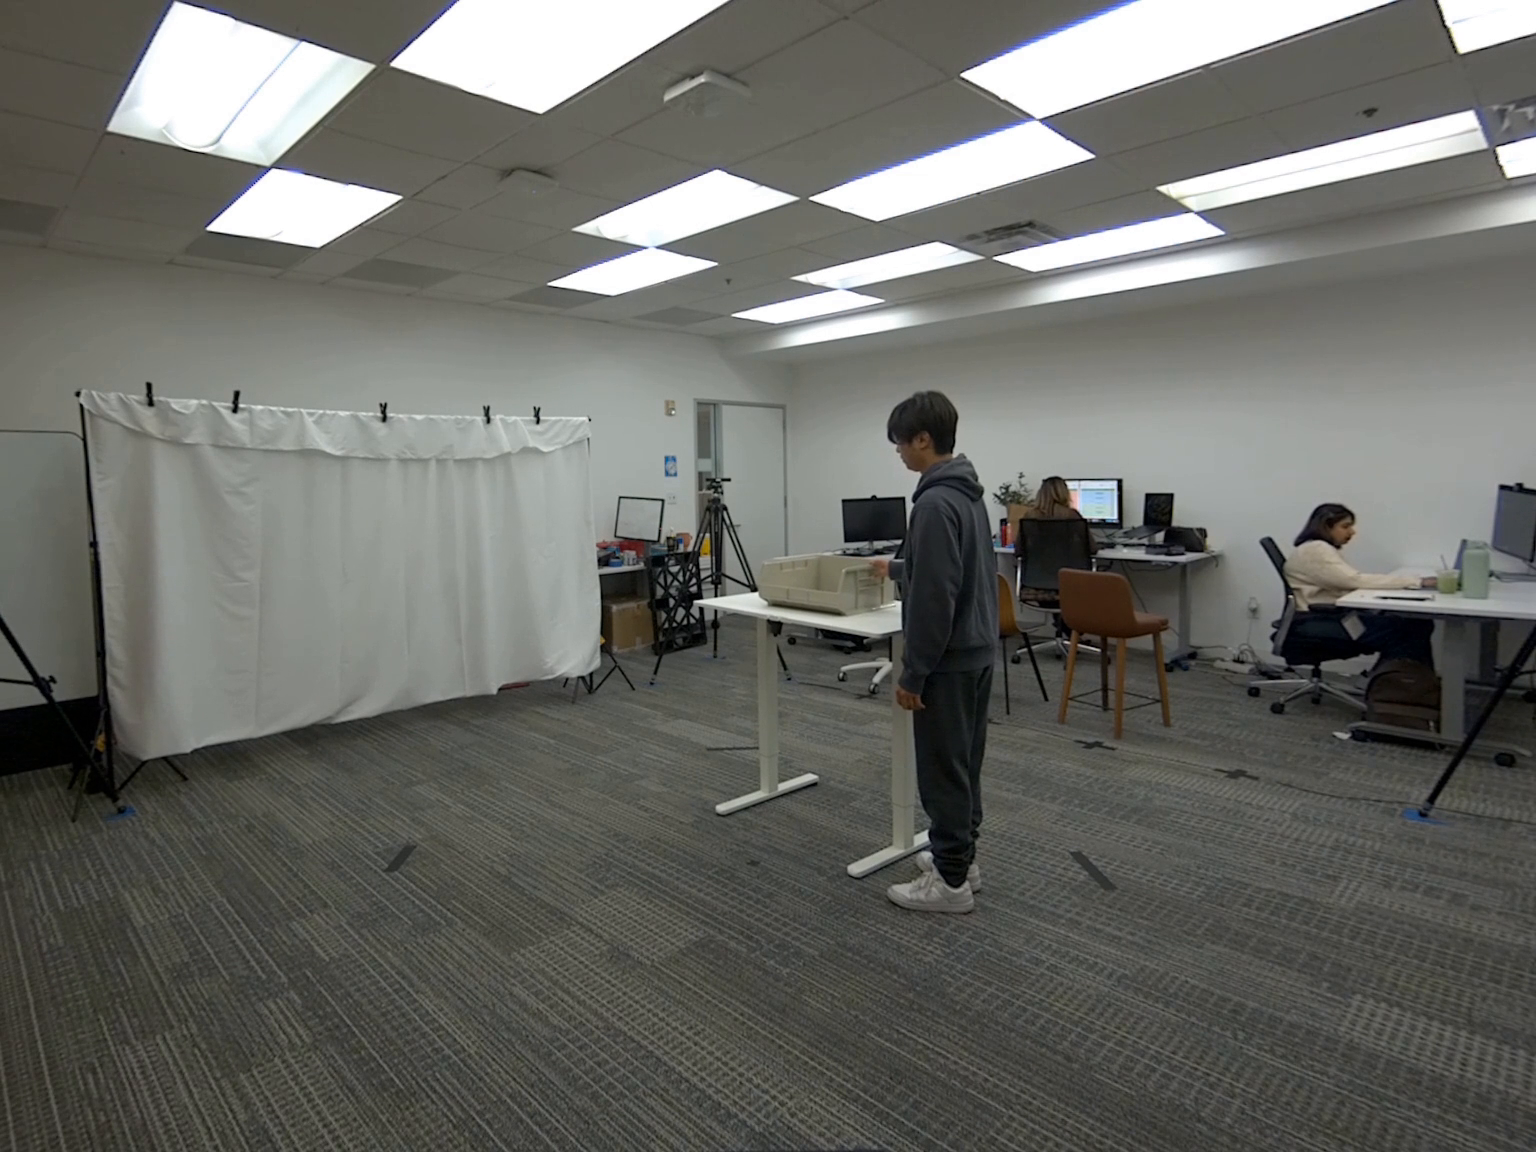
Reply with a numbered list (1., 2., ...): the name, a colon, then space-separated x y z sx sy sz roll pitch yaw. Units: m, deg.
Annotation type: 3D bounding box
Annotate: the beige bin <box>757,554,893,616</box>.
1. beige bin: 0.239 0.031 3.395 0.367 0.188 0.435 -6 8 -44
